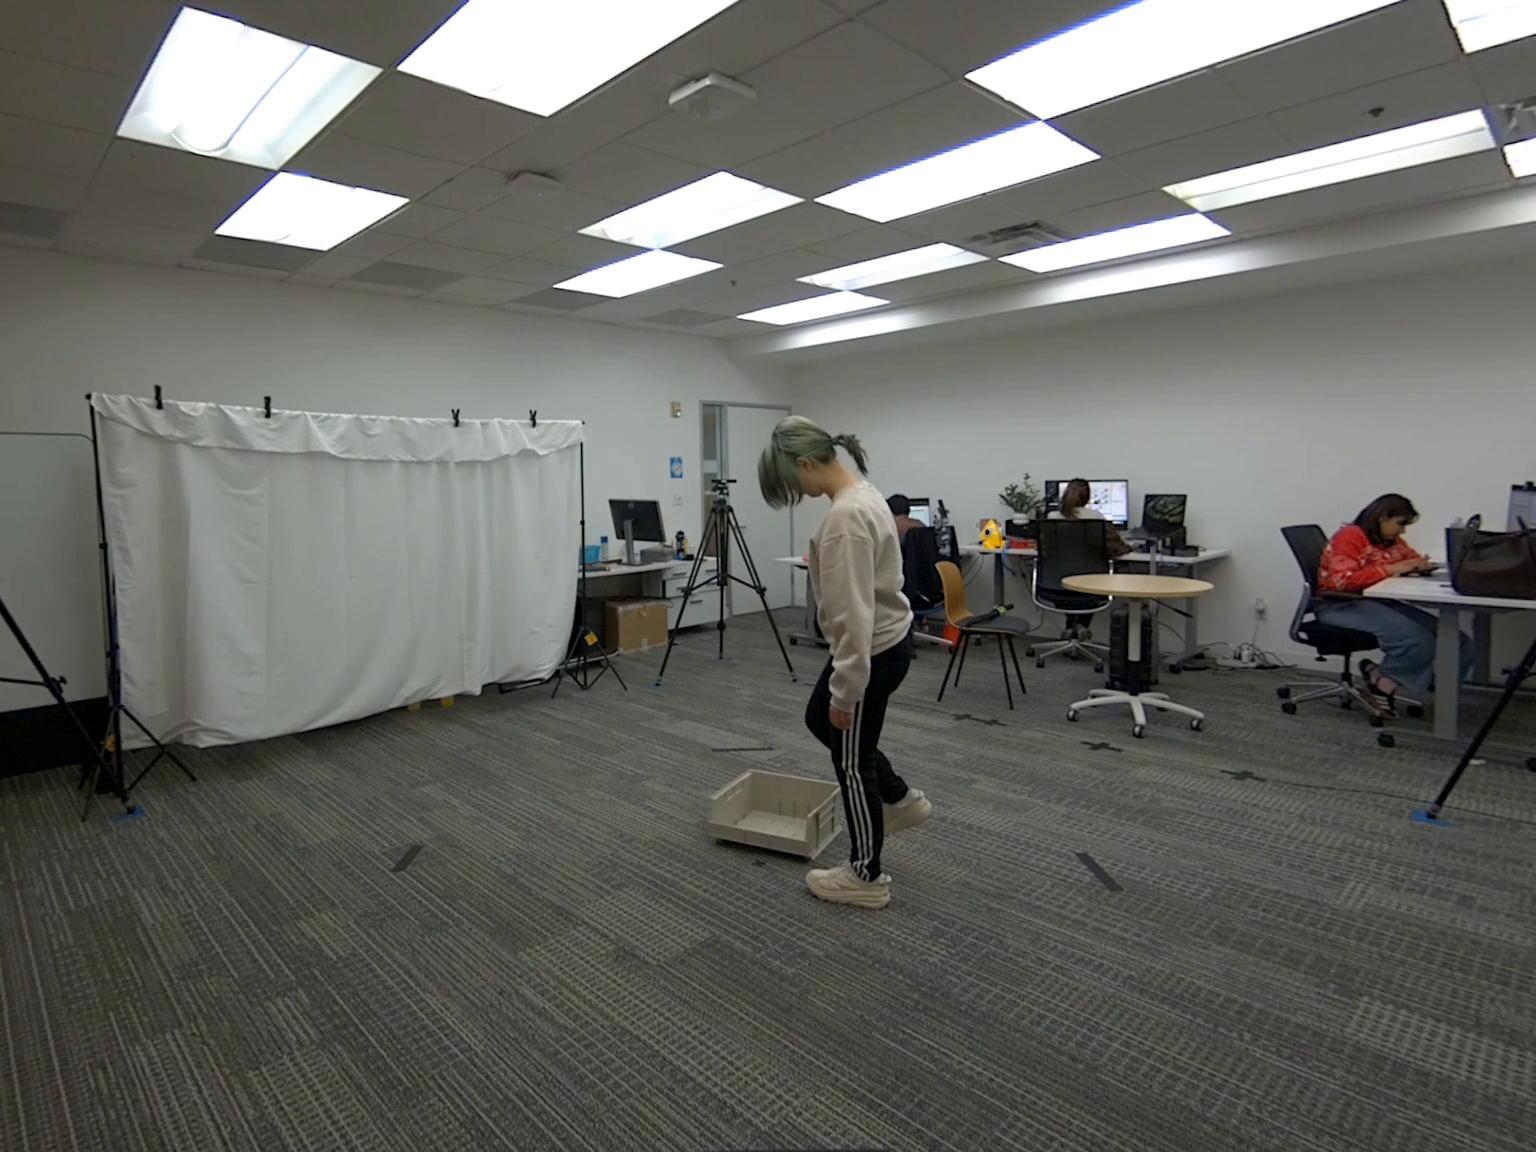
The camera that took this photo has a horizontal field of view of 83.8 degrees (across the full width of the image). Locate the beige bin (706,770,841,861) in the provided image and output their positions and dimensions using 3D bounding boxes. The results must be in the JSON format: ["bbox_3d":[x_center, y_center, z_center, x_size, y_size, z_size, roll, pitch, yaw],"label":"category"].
[{"bbox_3d":[0.035,0.932,3.335,0.433,0.188,0.370,2,6,27],"label":"beige bin"}]
